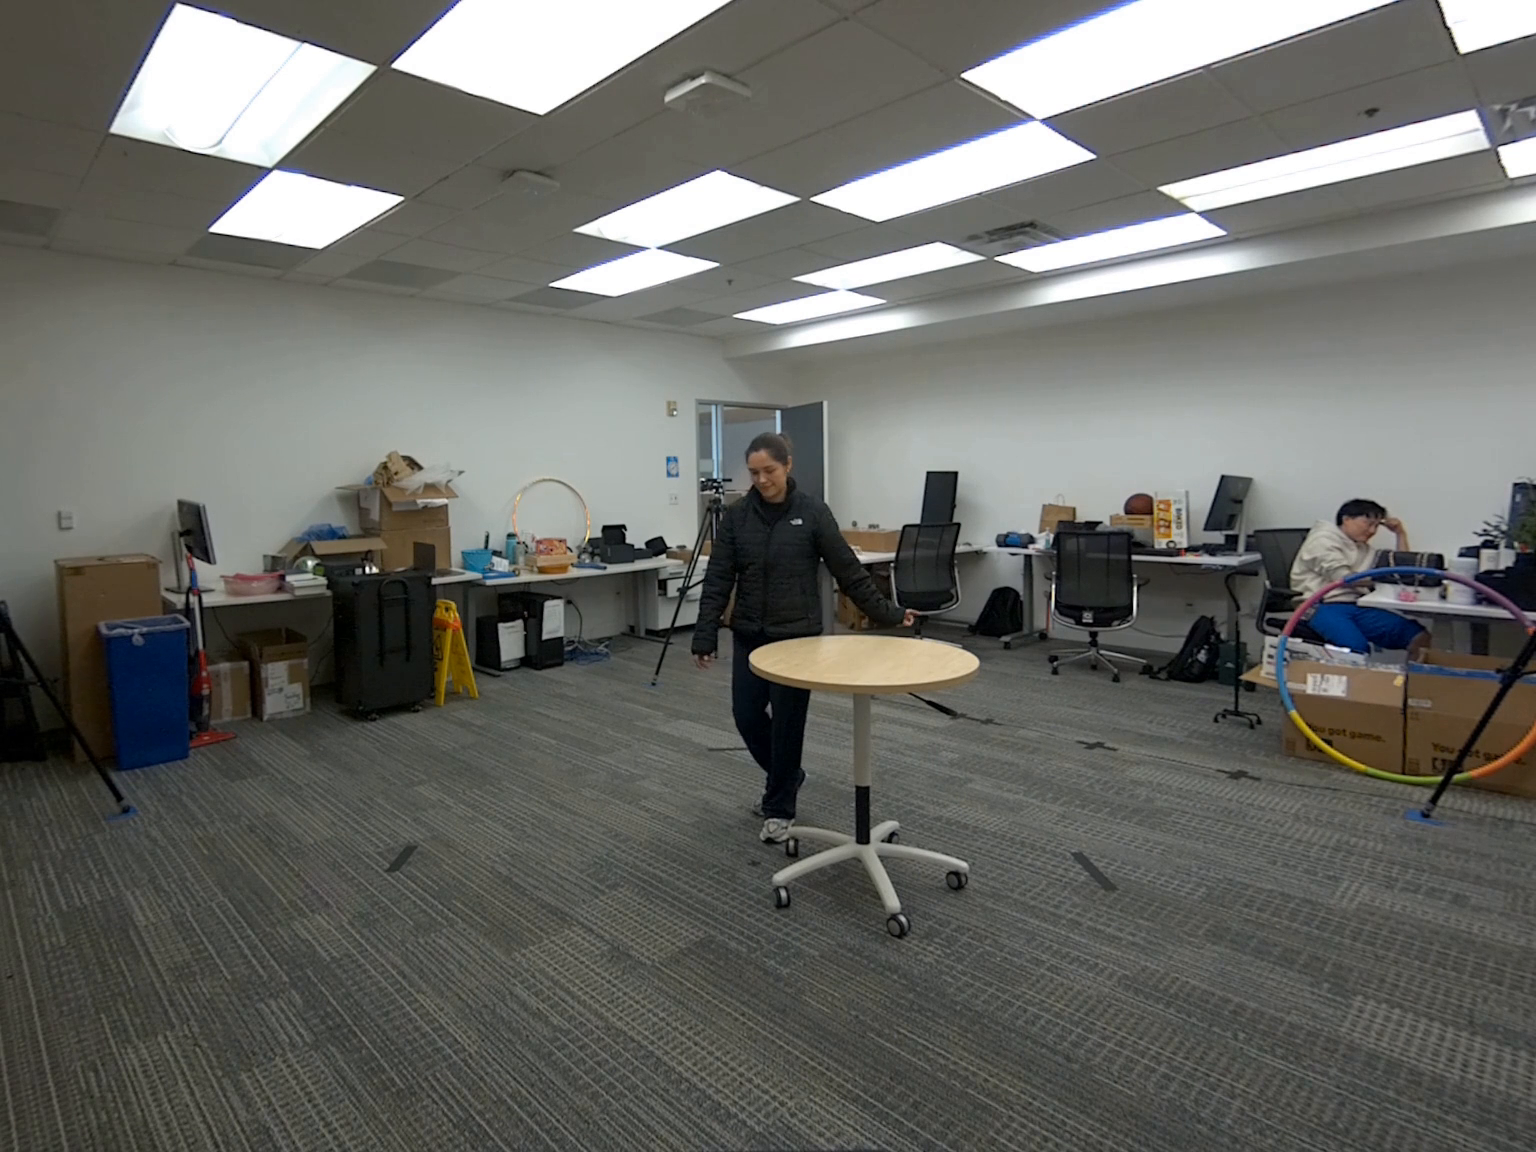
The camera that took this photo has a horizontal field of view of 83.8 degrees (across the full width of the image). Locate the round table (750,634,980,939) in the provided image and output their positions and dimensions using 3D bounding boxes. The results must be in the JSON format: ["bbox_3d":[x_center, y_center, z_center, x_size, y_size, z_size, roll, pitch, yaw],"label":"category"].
[{"bbox_3d":[0.316,0.662,2.948,0.784,0.783,0.789,-1,5,-2],"label":"round table"}]
